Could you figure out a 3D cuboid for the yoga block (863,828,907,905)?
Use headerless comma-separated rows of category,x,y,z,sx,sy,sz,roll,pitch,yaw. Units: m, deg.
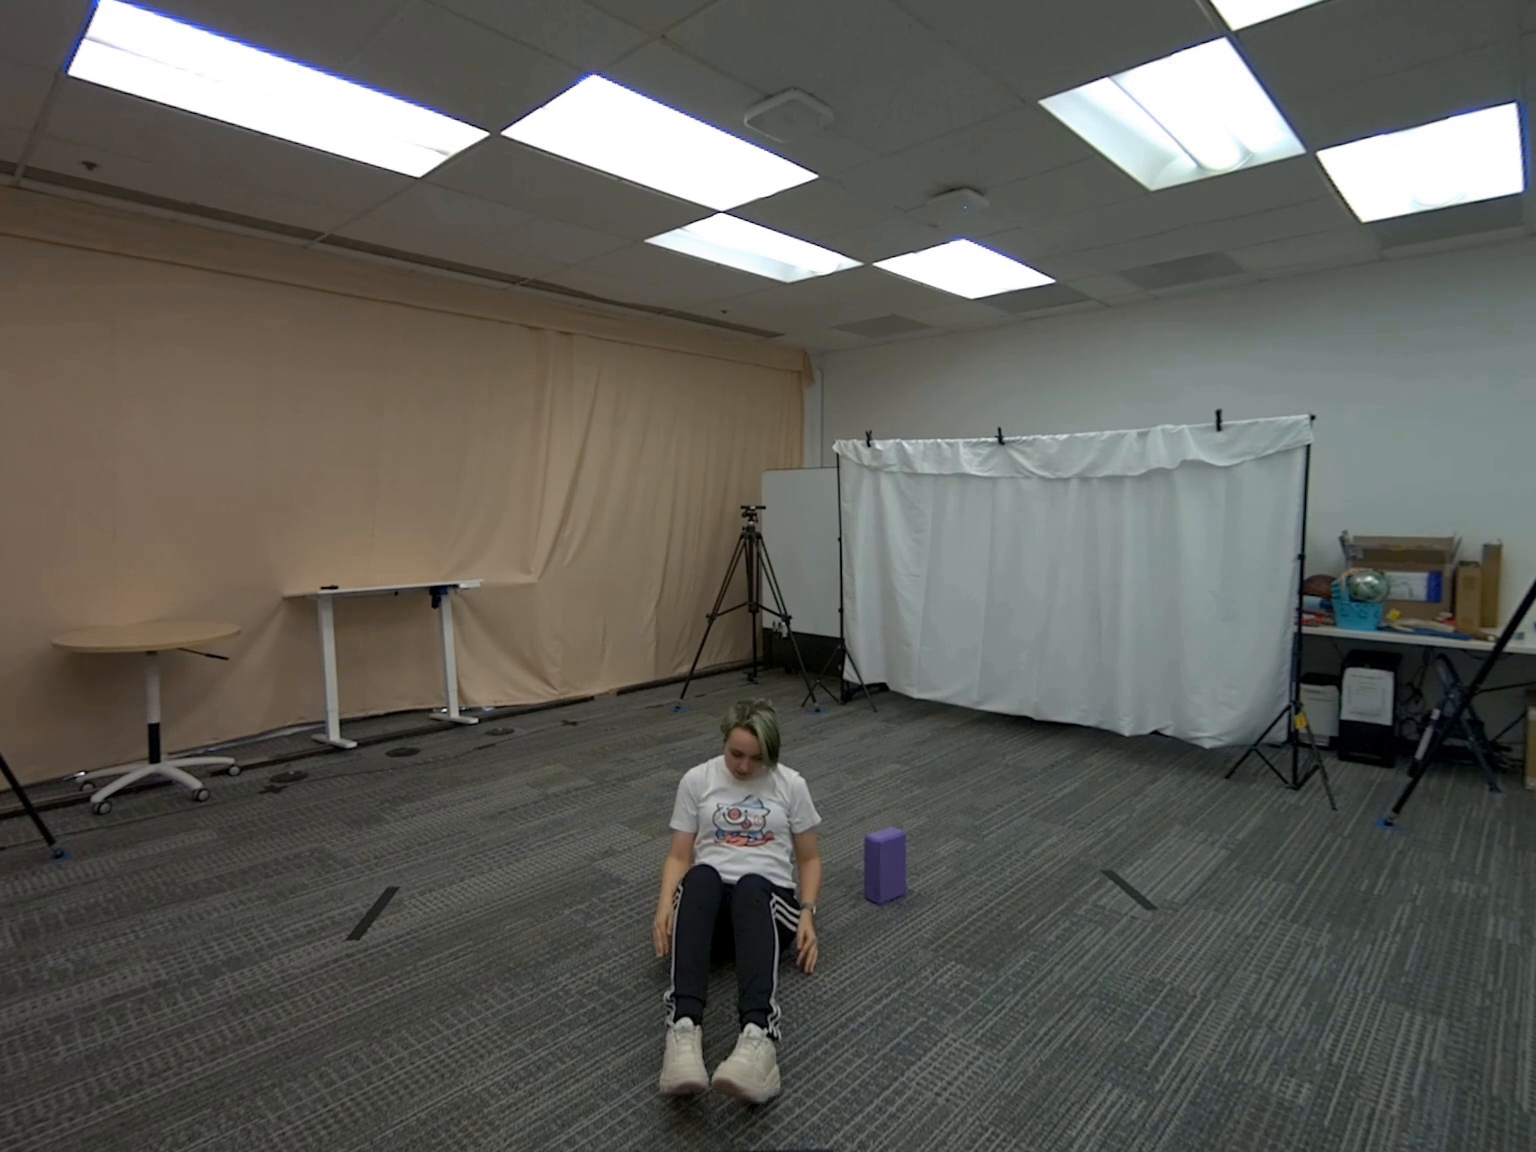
yoga block,0.420,1.022,2.987,0.144,0.229,0.079,-2,2,-38
